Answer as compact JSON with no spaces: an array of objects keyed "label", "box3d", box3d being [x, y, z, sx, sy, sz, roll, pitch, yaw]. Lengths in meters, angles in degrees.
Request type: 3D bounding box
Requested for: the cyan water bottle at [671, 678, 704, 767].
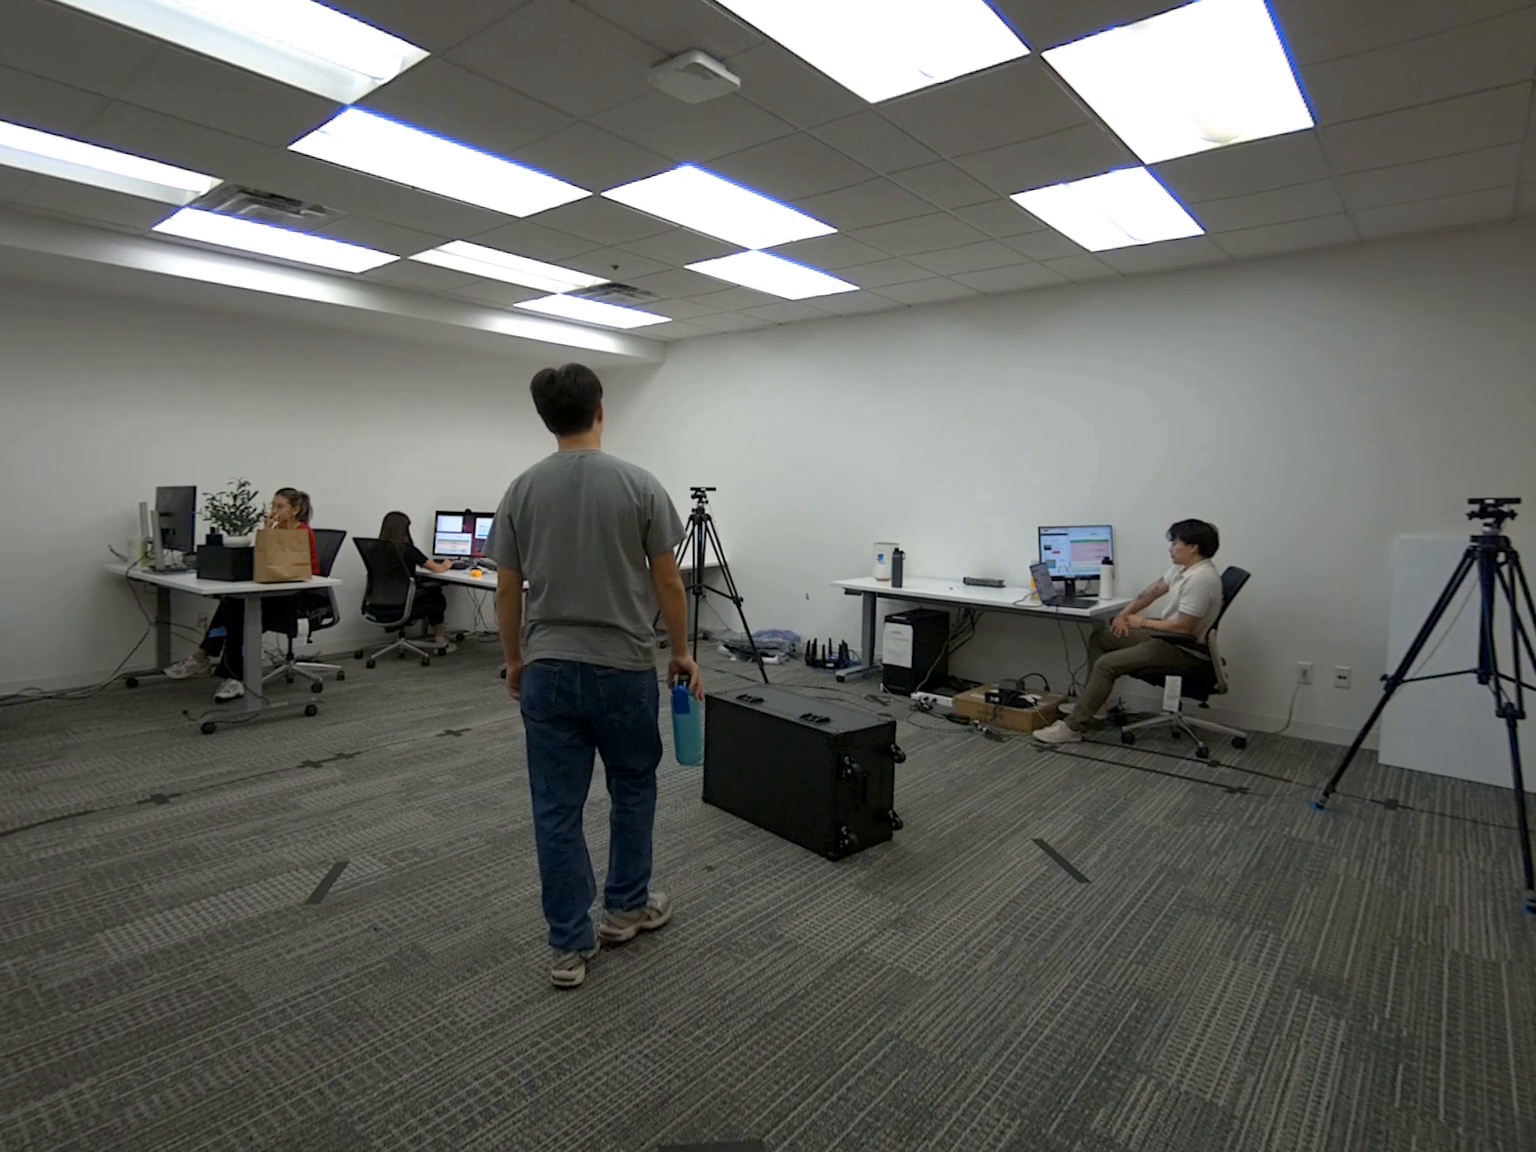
[{"label":"cyan water bottle","box3d":[-0.269,0.448,2.625,0.092,0.279,0.094,-3,14,-1]}]
